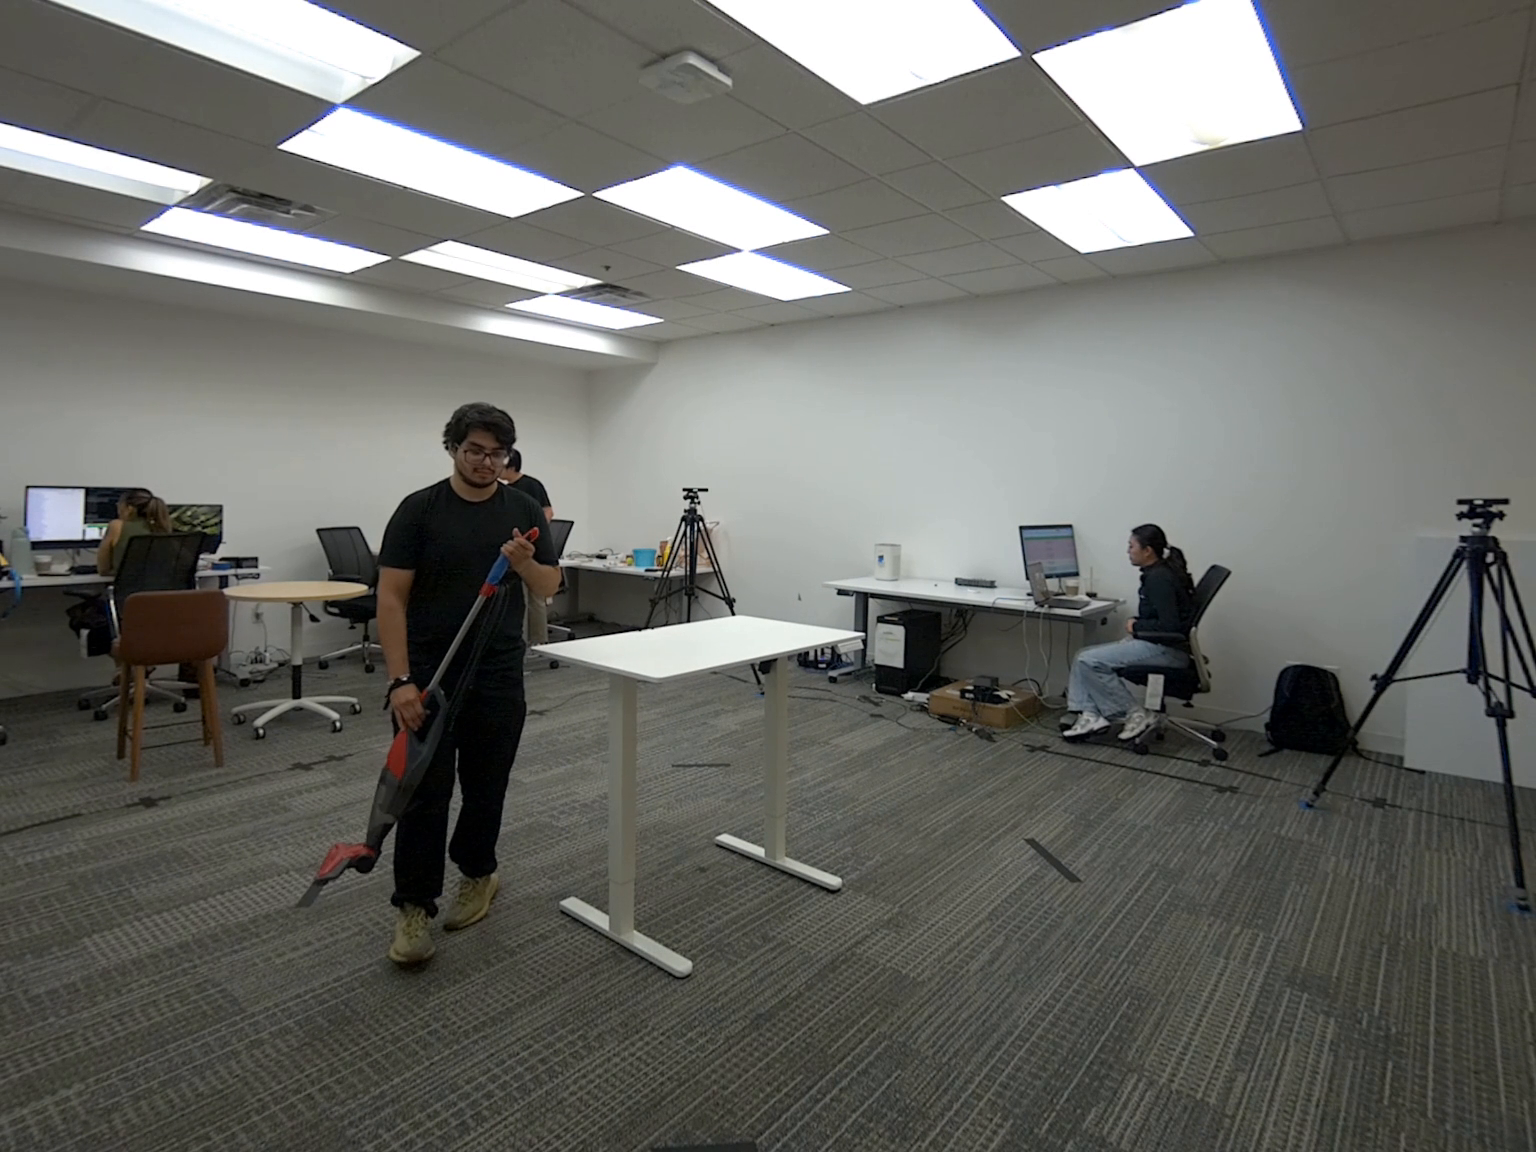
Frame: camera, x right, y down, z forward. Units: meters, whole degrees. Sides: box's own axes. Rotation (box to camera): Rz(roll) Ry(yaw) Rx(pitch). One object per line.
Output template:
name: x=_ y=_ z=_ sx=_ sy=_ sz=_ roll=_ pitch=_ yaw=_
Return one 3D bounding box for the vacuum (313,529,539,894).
vacuum: x=-0.925 y=0.333 z=2.428 sx=0.142 sy=1.051 sz=0.256 roll=30 pitch=-6 yaw=-12
